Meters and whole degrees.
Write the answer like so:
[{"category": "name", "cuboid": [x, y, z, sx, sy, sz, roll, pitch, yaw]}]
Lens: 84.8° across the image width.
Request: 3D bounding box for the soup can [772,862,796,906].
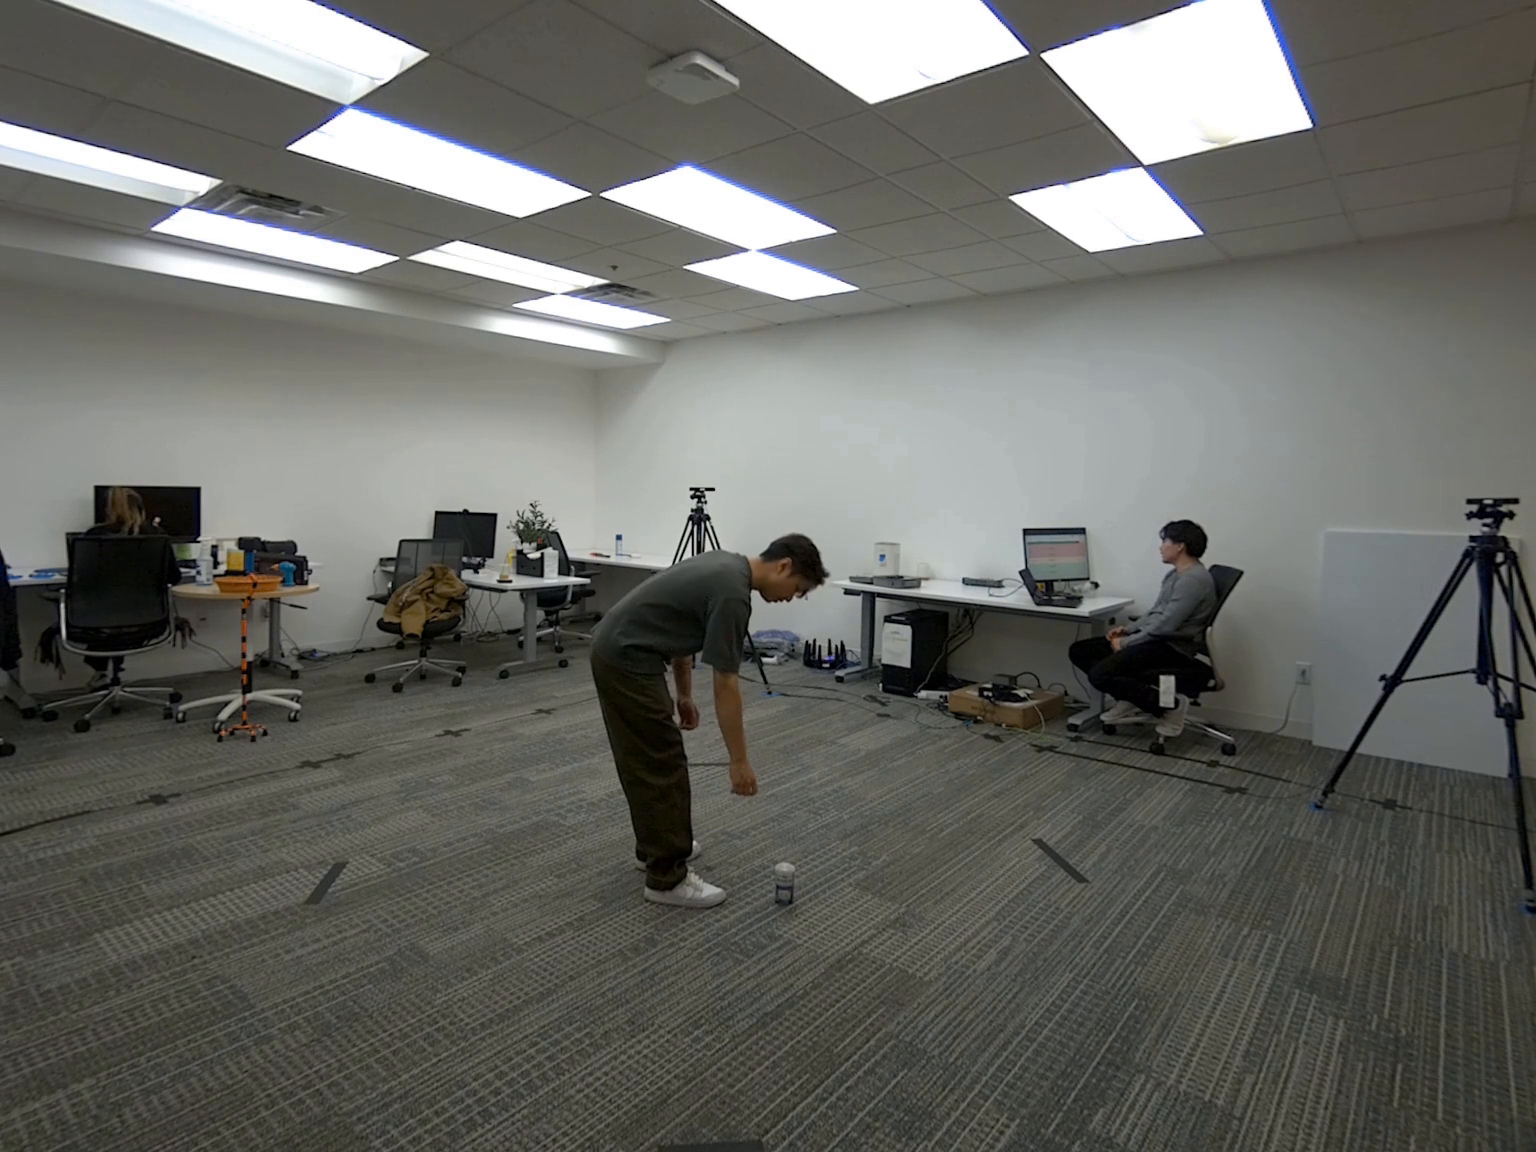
[{"category": "soup can", "cuboid": [0.044, 1.041, 2.865, 0.067, 0.121, 0.067, 0, 4, -2]}]
